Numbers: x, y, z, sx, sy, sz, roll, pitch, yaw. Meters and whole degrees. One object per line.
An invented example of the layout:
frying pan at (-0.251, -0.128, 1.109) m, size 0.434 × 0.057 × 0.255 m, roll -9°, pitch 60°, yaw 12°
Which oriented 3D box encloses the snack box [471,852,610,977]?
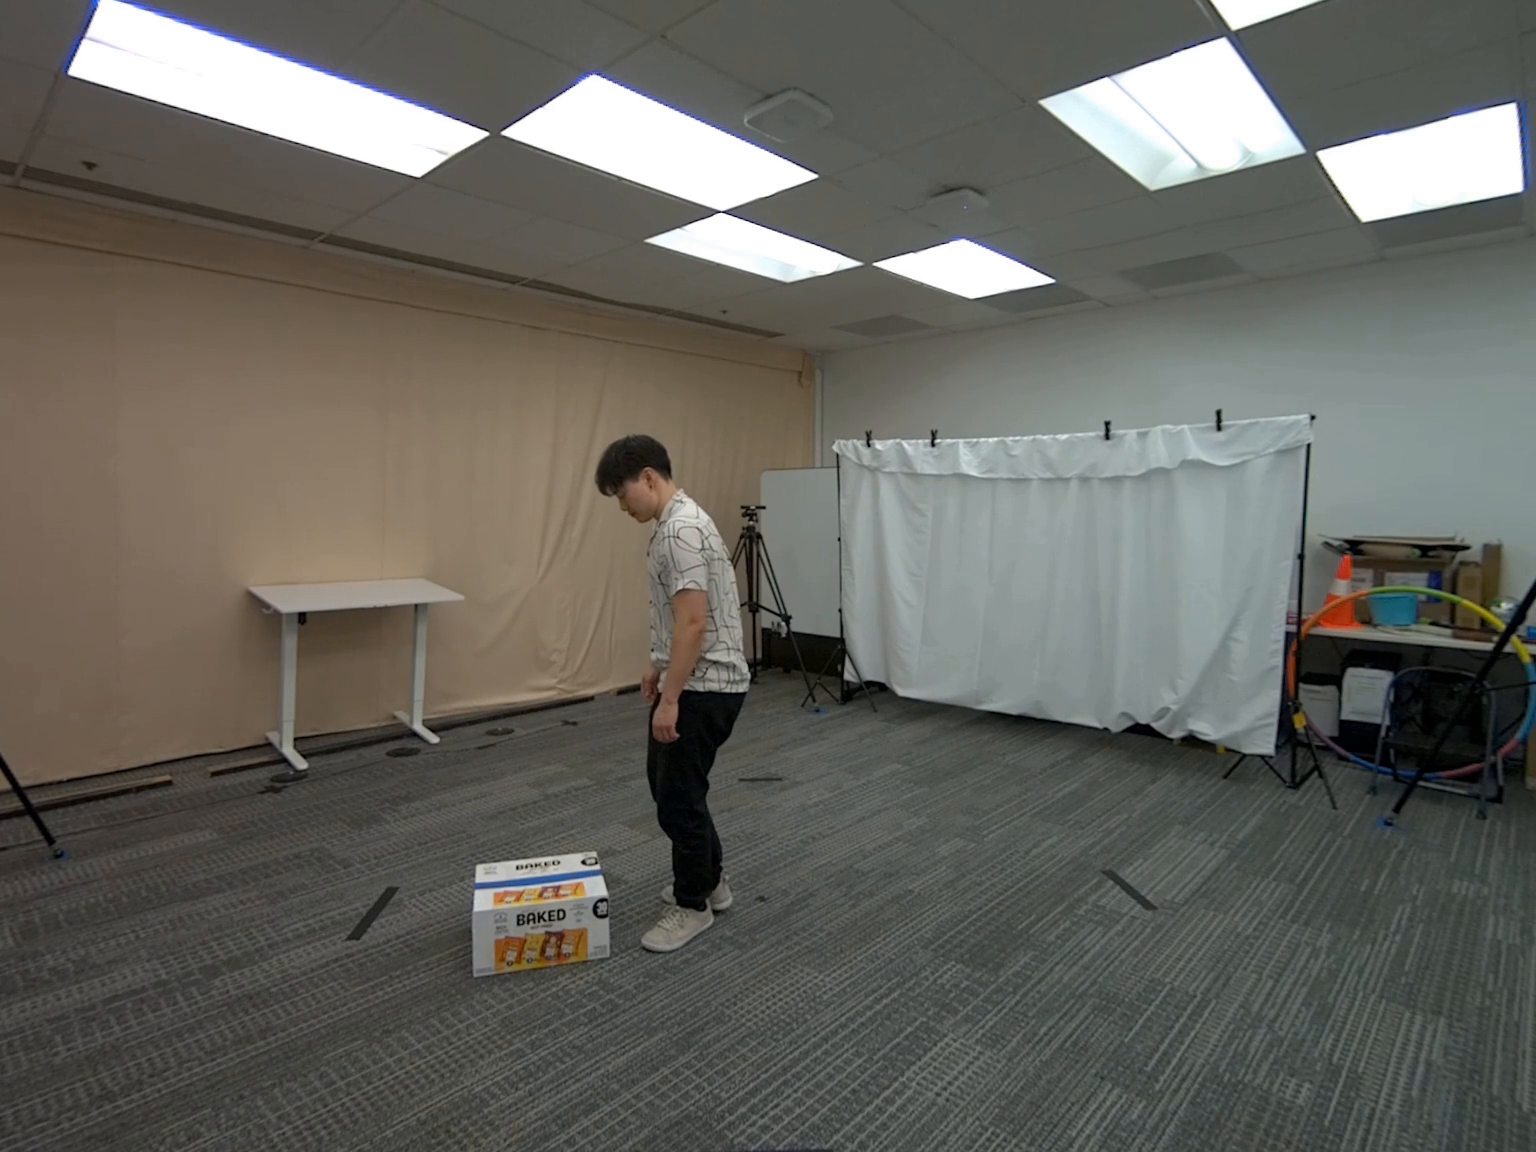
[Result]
snack box at (-0.732, 1.074, 2.696) m, size 0.399 × 0.205 × 0.347 m, roll -2°, pitch 5°, yaw -16°
